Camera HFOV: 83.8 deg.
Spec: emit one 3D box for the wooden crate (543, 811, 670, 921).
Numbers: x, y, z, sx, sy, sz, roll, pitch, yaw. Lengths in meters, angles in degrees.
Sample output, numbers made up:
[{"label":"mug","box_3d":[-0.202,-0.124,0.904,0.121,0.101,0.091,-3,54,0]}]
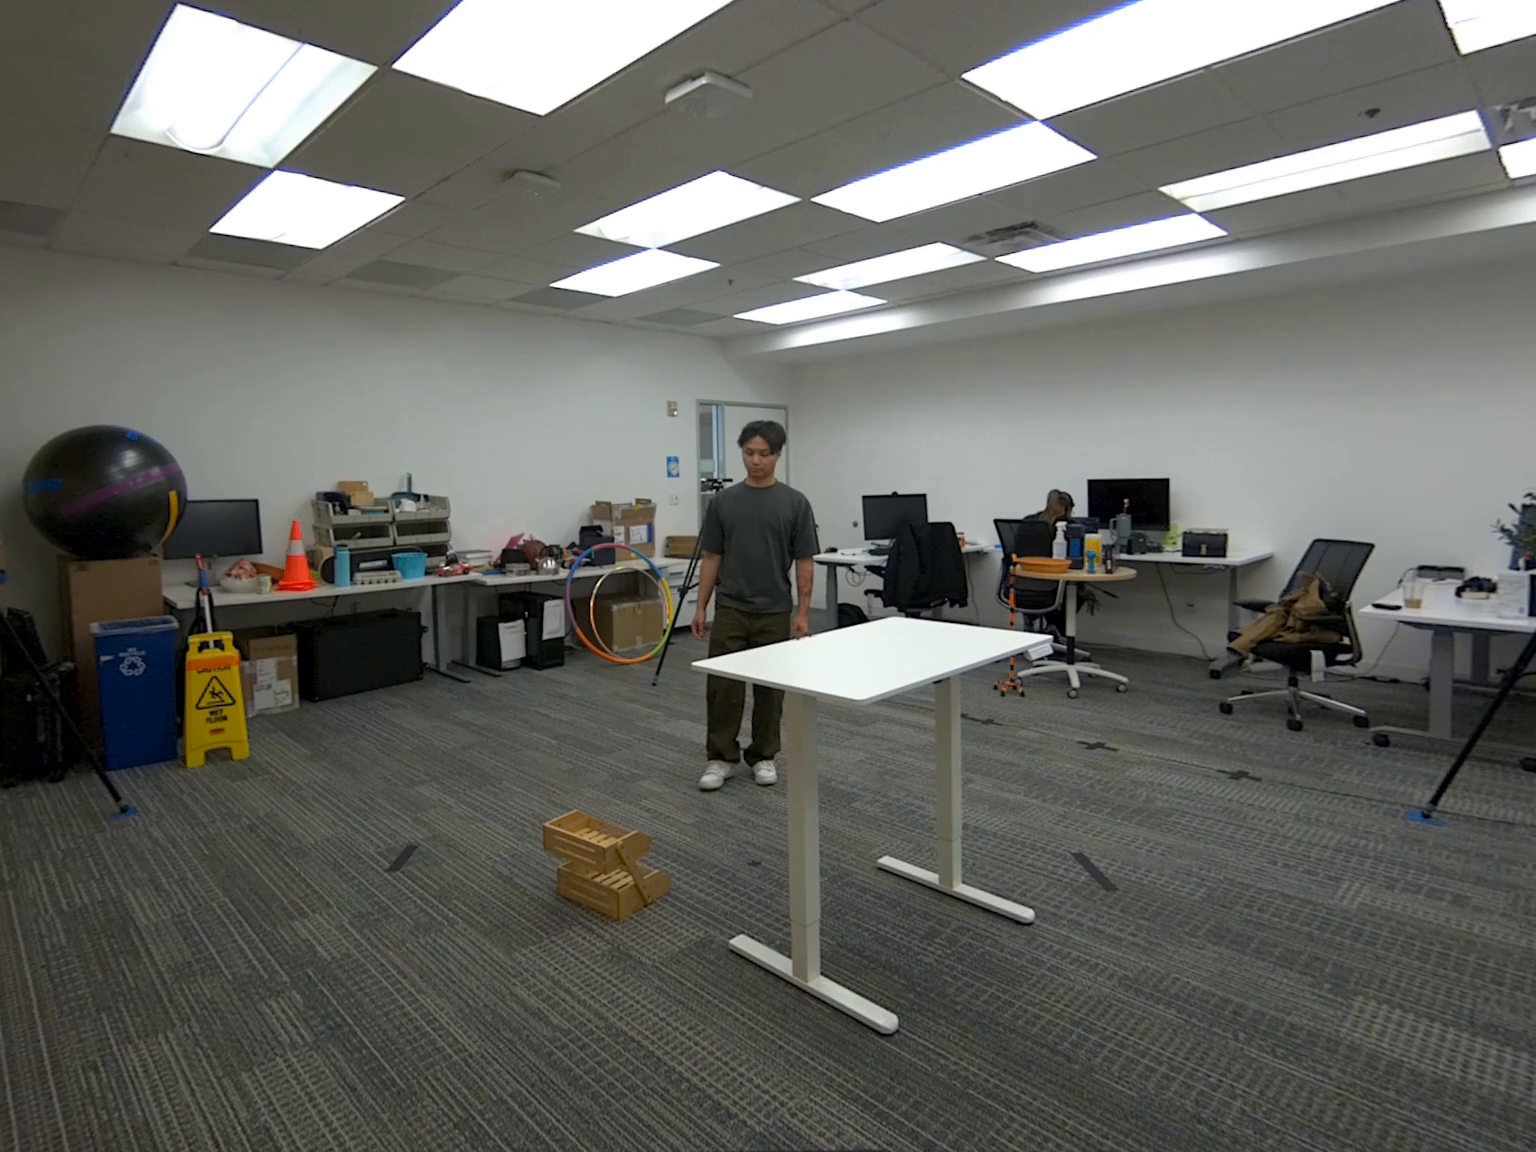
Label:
[{"label":"wooden crate","box_3d":[-0.534,0.943,2.884,0.334,0.272,0.295,3,8,37]}]
